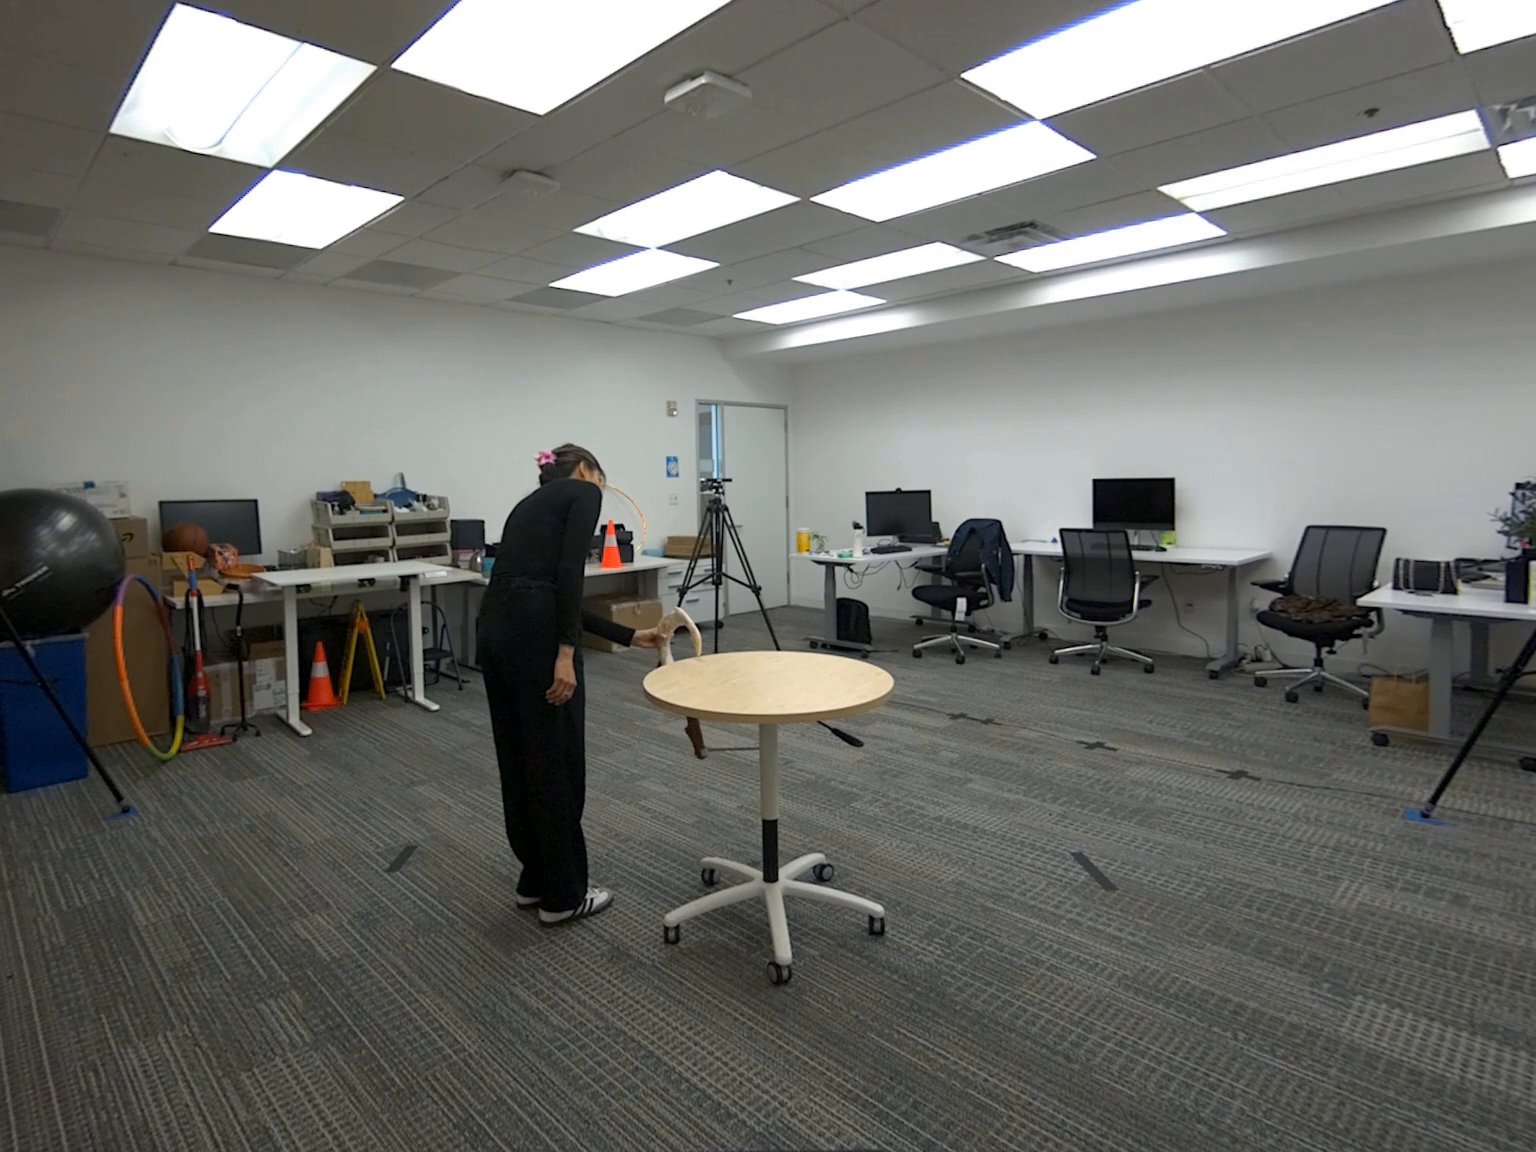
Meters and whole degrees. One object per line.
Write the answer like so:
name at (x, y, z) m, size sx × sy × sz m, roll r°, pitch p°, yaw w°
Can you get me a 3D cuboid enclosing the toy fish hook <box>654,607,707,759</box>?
toy fish hook at (-0.263, 0.359, 2.884) m, size 0.047 × 0.519 × 0.225 m, roll 0°, pitch -27°, yaw -40°
